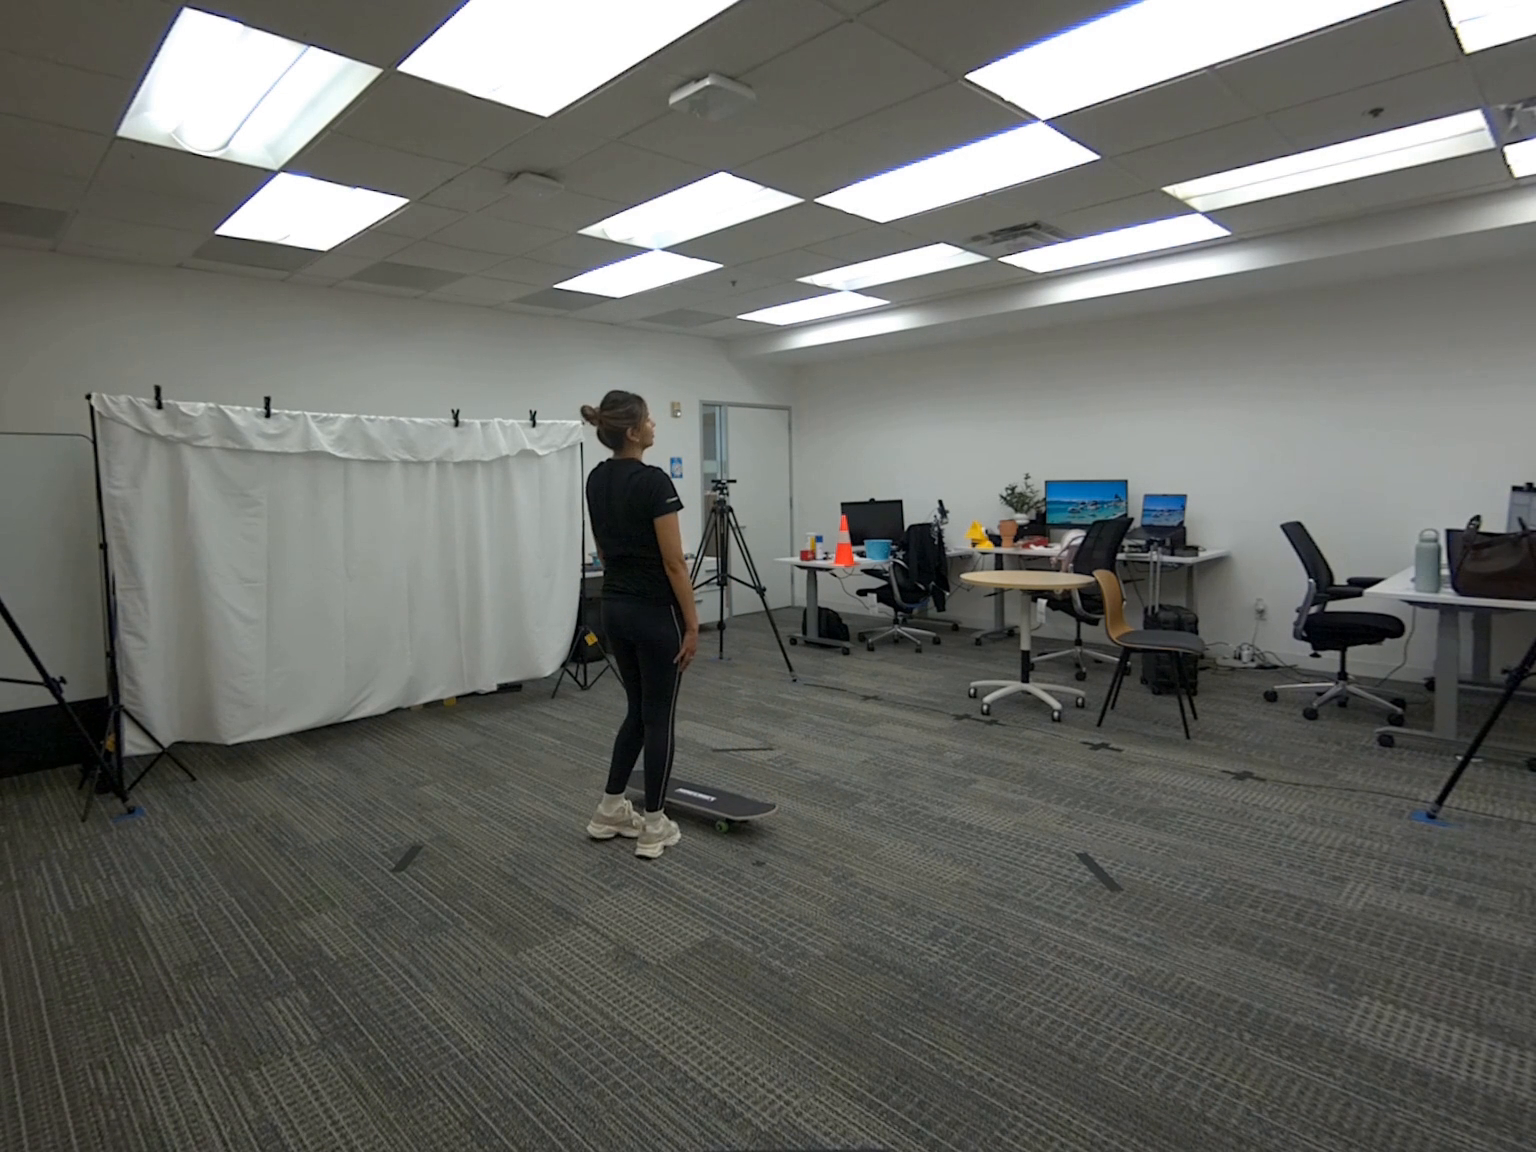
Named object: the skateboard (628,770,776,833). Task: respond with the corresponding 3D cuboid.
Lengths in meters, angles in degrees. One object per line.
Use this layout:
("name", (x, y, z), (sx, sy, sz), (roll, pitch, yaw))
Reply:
("skateboard", (-0.298, 0.944, 3.568), (0.808, 0.110, 0.189), (3, 8, 37))
